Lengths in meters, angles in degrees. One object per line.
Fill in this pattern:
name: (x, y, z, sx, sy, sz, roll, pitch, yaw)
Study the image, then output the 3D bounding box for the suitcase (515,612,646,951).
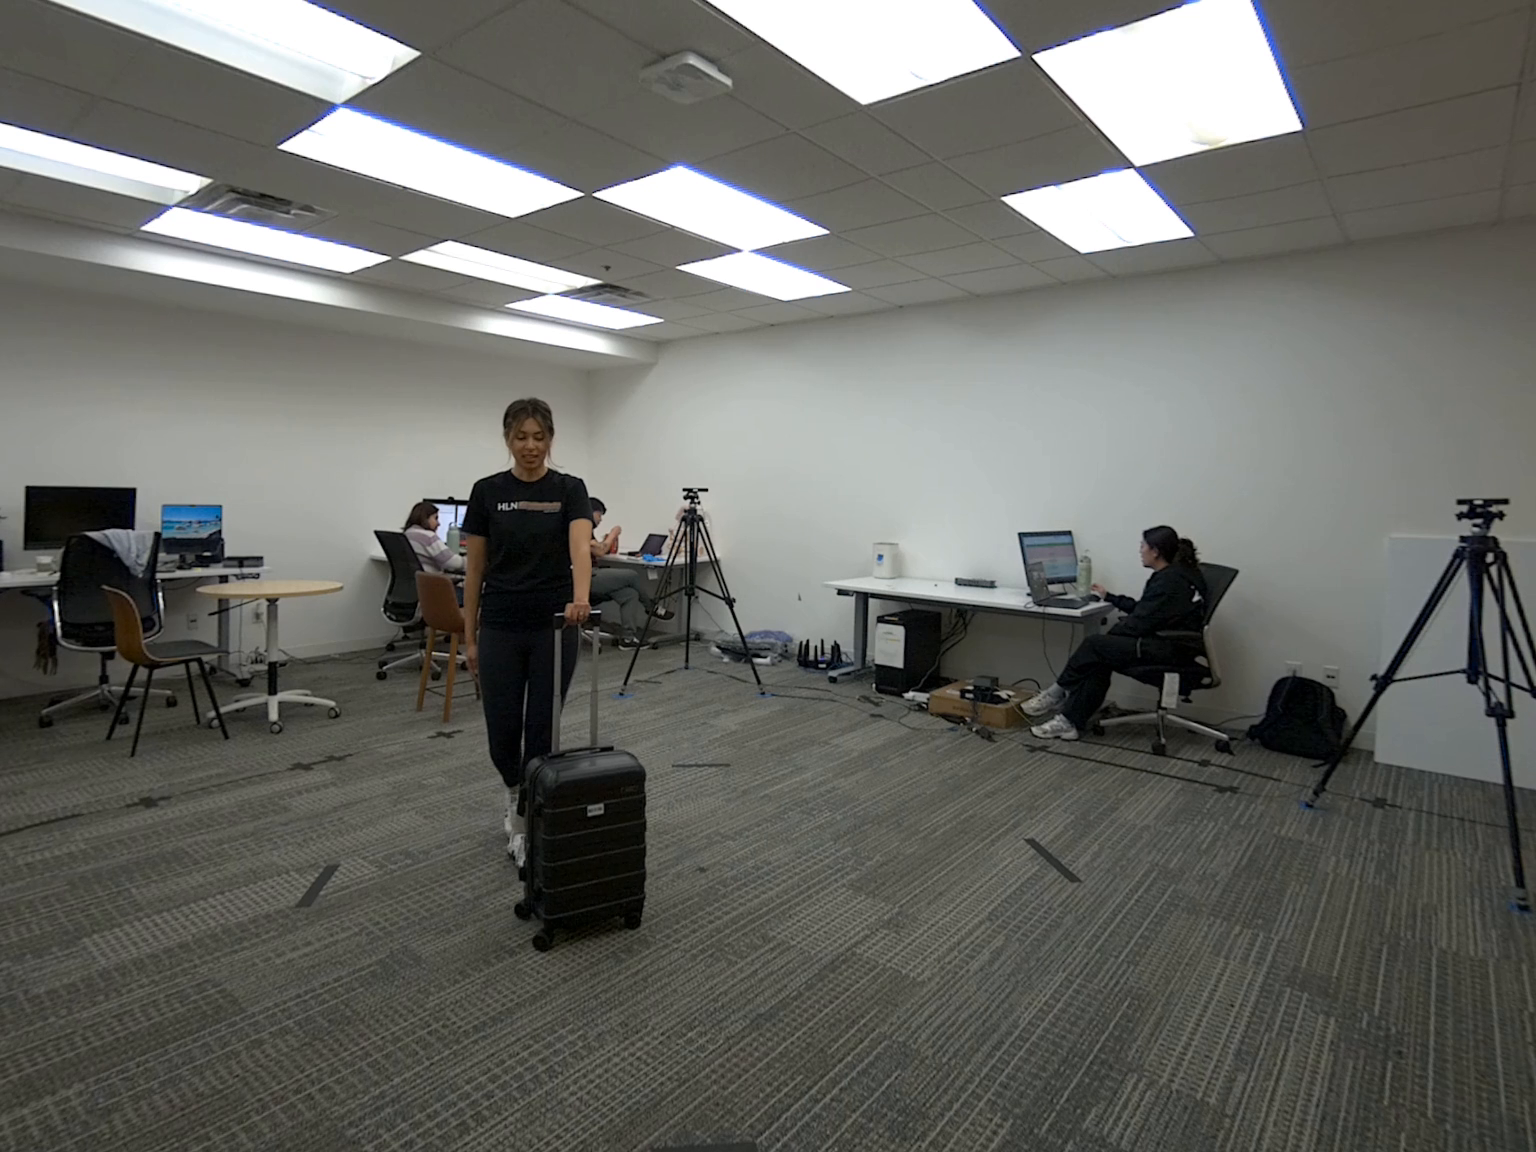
suitcase: (-0.582, 0.626, 2.682, 0.374, 0.974, 0.265, 0, 5, -28)
